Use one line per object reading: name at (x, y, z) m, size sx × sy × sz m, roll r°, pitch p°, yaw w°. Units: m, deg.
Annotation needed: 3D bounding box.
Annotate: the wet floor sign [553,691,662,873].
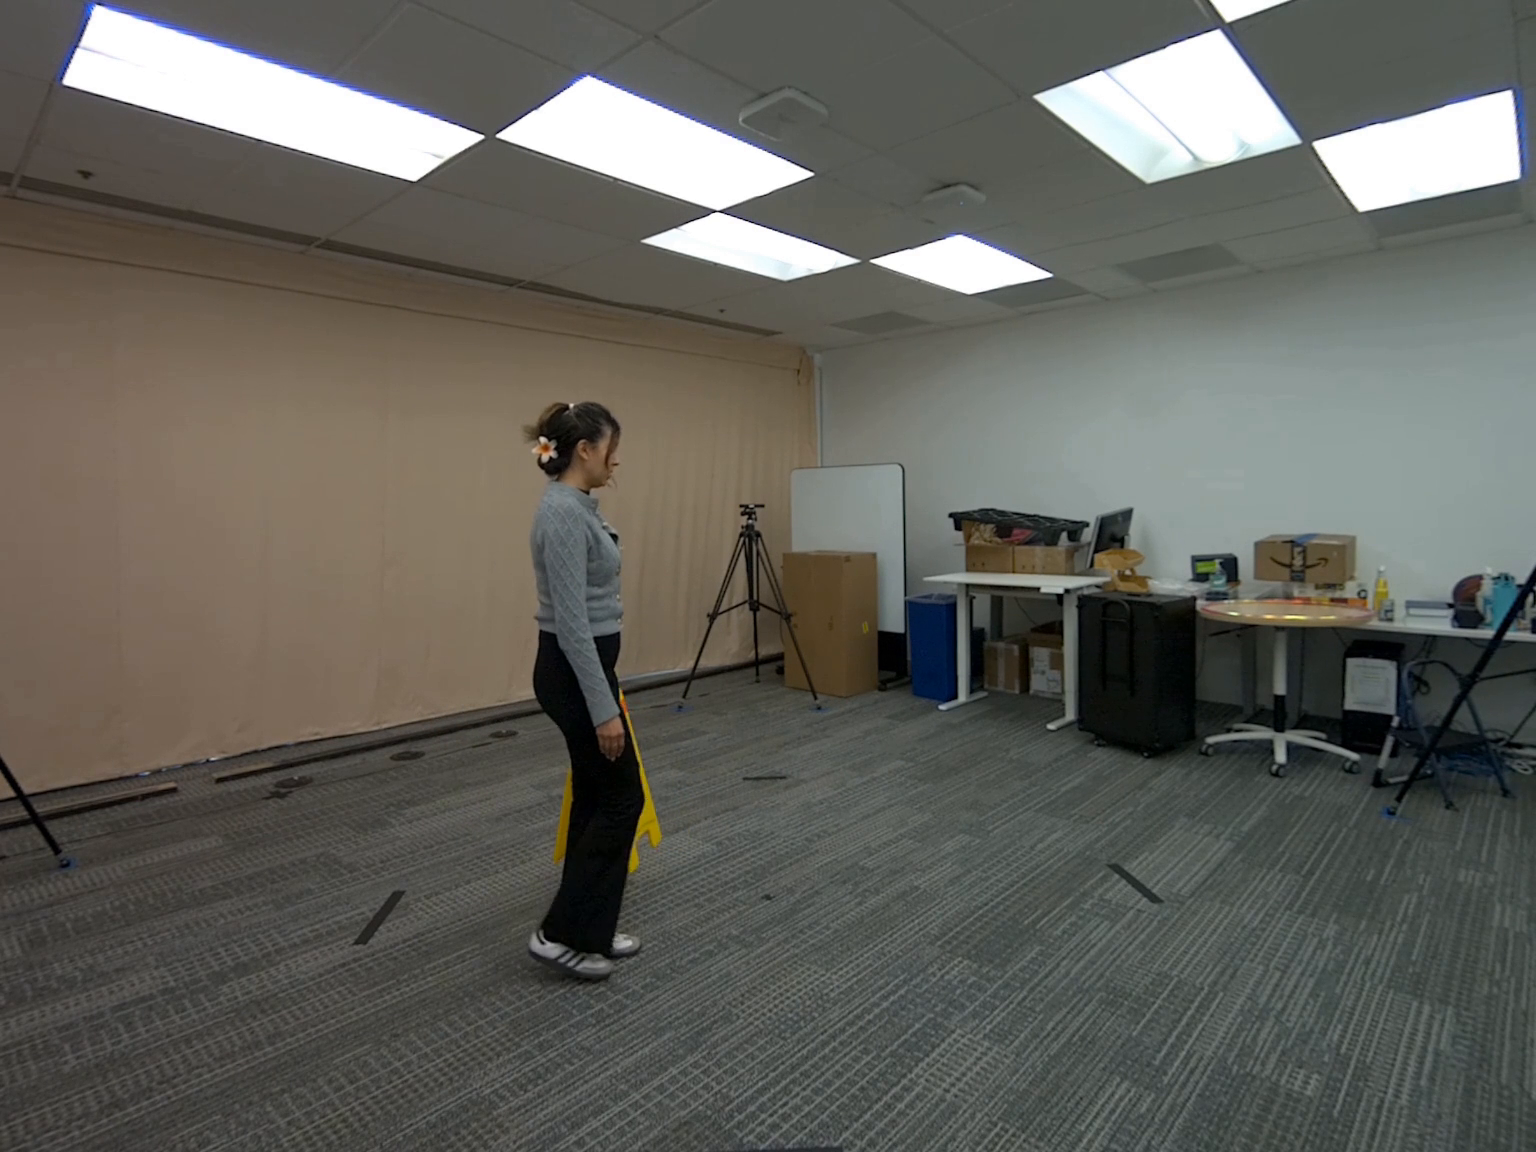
wet floor sign at (-0.577, 0.655, 2.942) m, size 0.295 × 0.644 × 0.278 m, roll 0°, pitch 5°, yaw 17°
